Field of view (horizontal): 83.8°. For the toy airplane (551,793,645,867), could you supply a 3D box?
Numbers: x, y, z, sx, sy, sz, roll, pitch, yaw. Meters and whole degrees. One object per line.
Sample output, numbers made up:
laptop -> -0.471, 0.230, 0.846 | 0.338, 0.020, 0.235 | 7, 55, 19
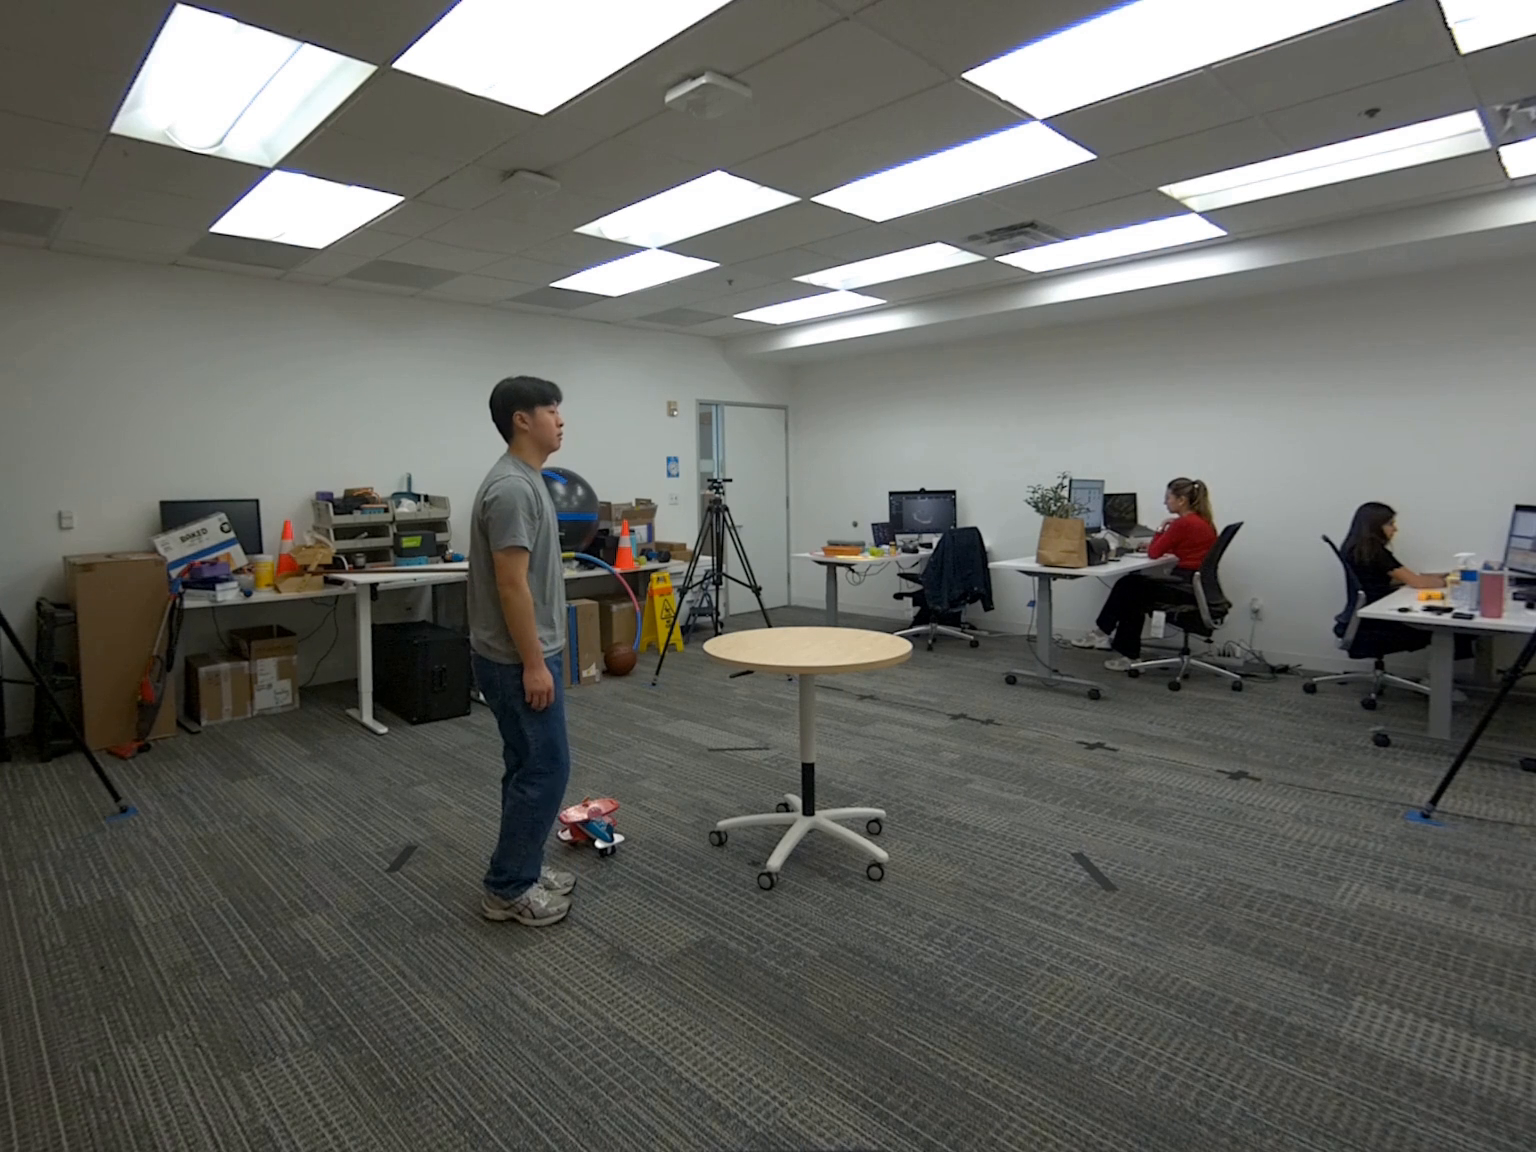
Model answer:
toy airplane -> -0.648, 0.962, 3.274 | 0.264, 0.156, 0.248 | -1, 6, 19
